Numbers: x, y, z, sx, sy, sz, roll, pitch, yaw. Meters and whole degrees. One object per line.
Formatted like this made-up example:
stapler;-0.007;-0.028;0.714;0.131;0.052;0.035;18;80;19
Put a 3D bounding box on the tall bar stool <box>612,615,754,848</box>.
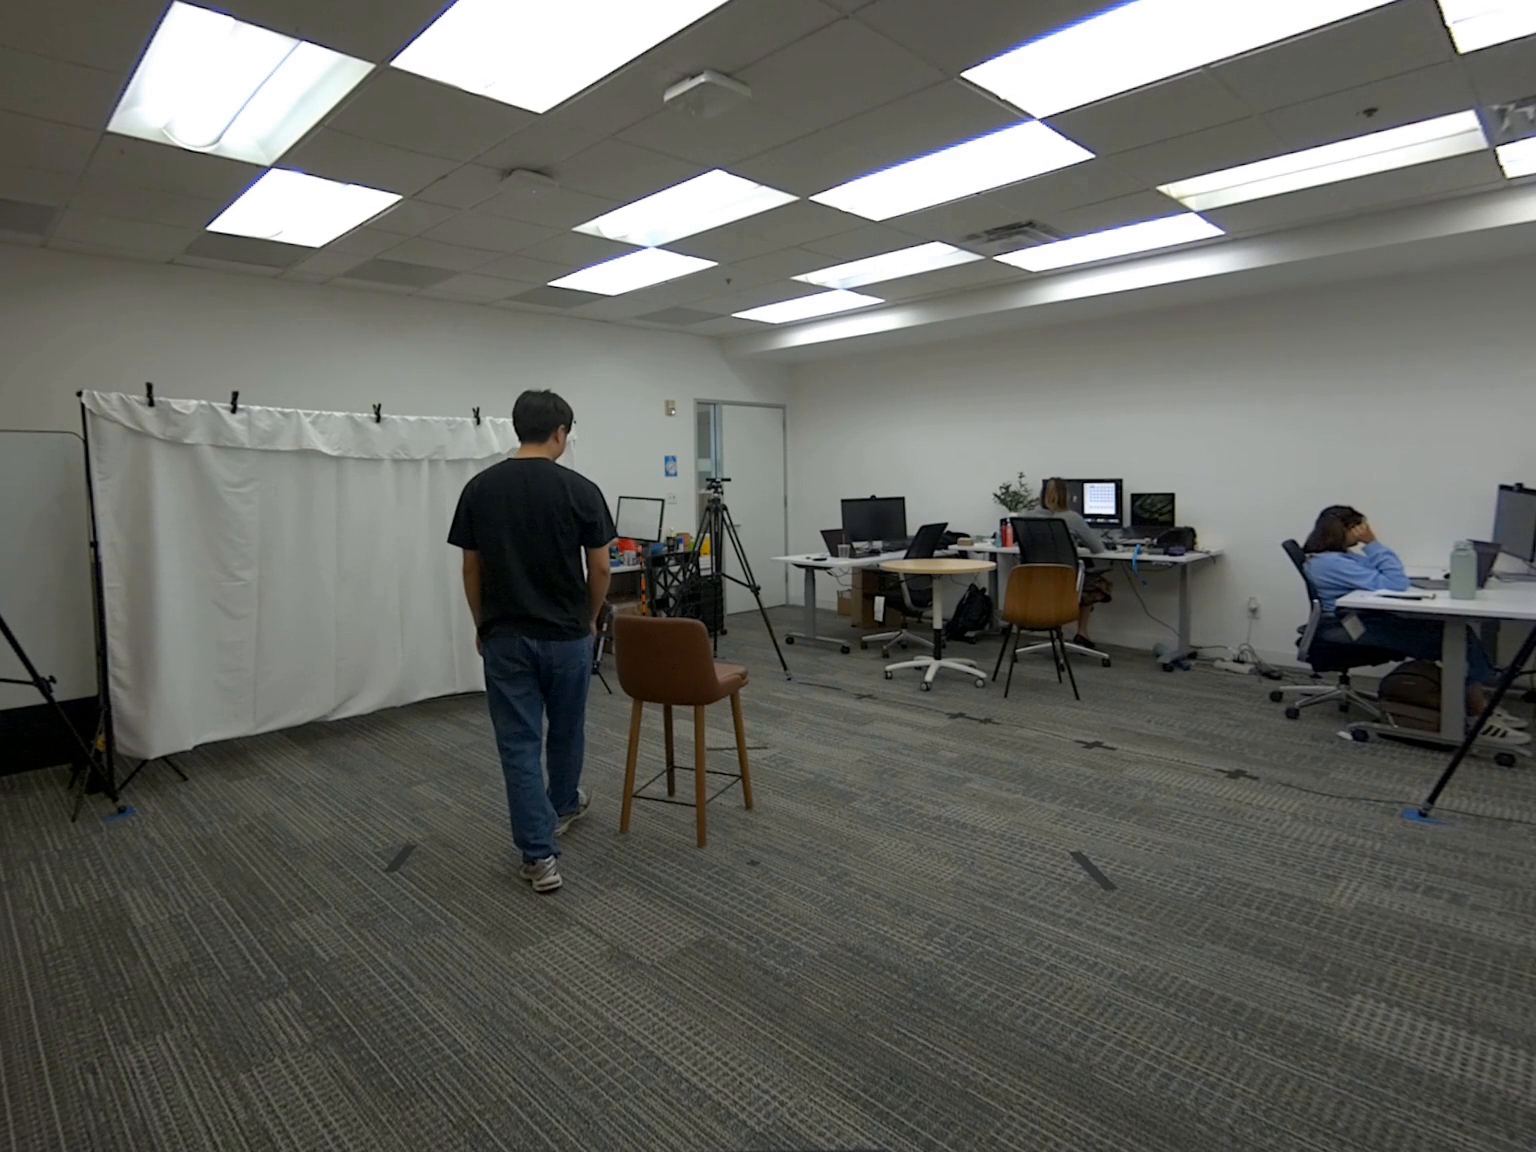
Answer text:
tall bar stool;-0.343;0.566;3.485;0.467;0.885;0.459;1;6;25
